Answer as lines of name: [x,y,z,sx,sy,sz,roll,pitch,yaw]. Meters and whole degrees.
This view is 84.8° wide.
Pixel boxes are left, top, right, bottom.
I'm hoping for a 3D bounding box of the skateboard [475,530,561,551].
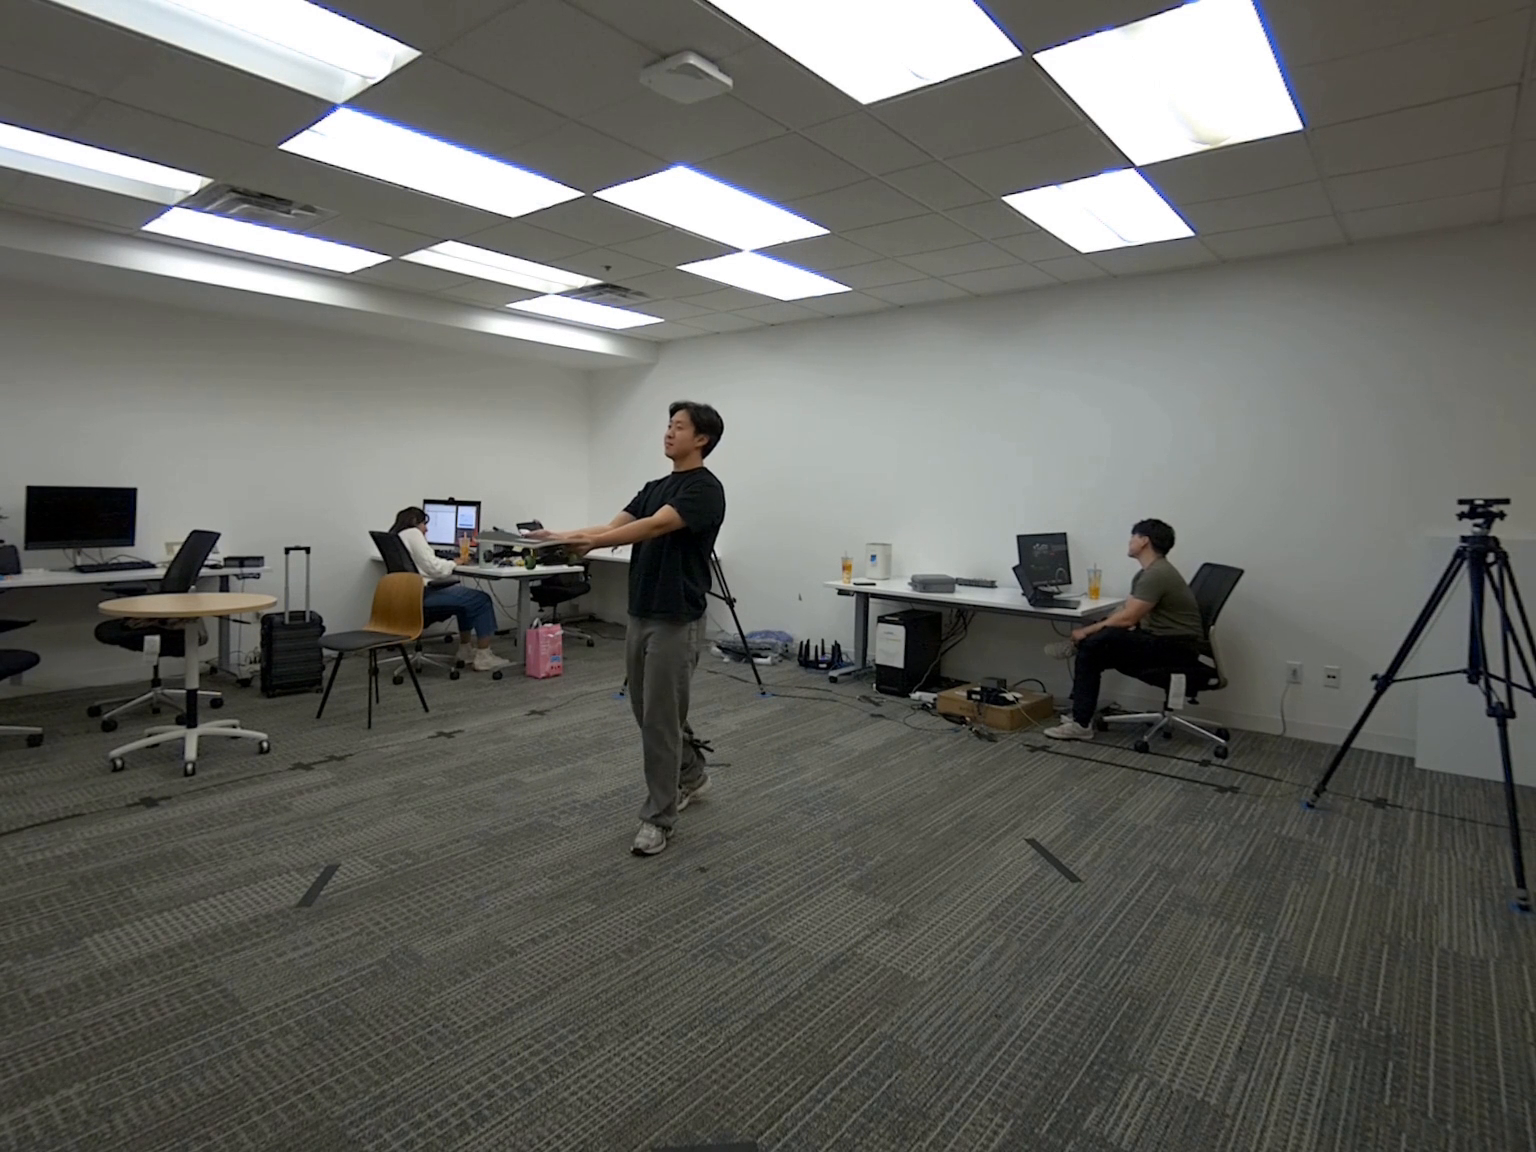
skateboard: [-0.884,-0.098,3.115,0.188,0.110,0.811,-3,6,-37]
